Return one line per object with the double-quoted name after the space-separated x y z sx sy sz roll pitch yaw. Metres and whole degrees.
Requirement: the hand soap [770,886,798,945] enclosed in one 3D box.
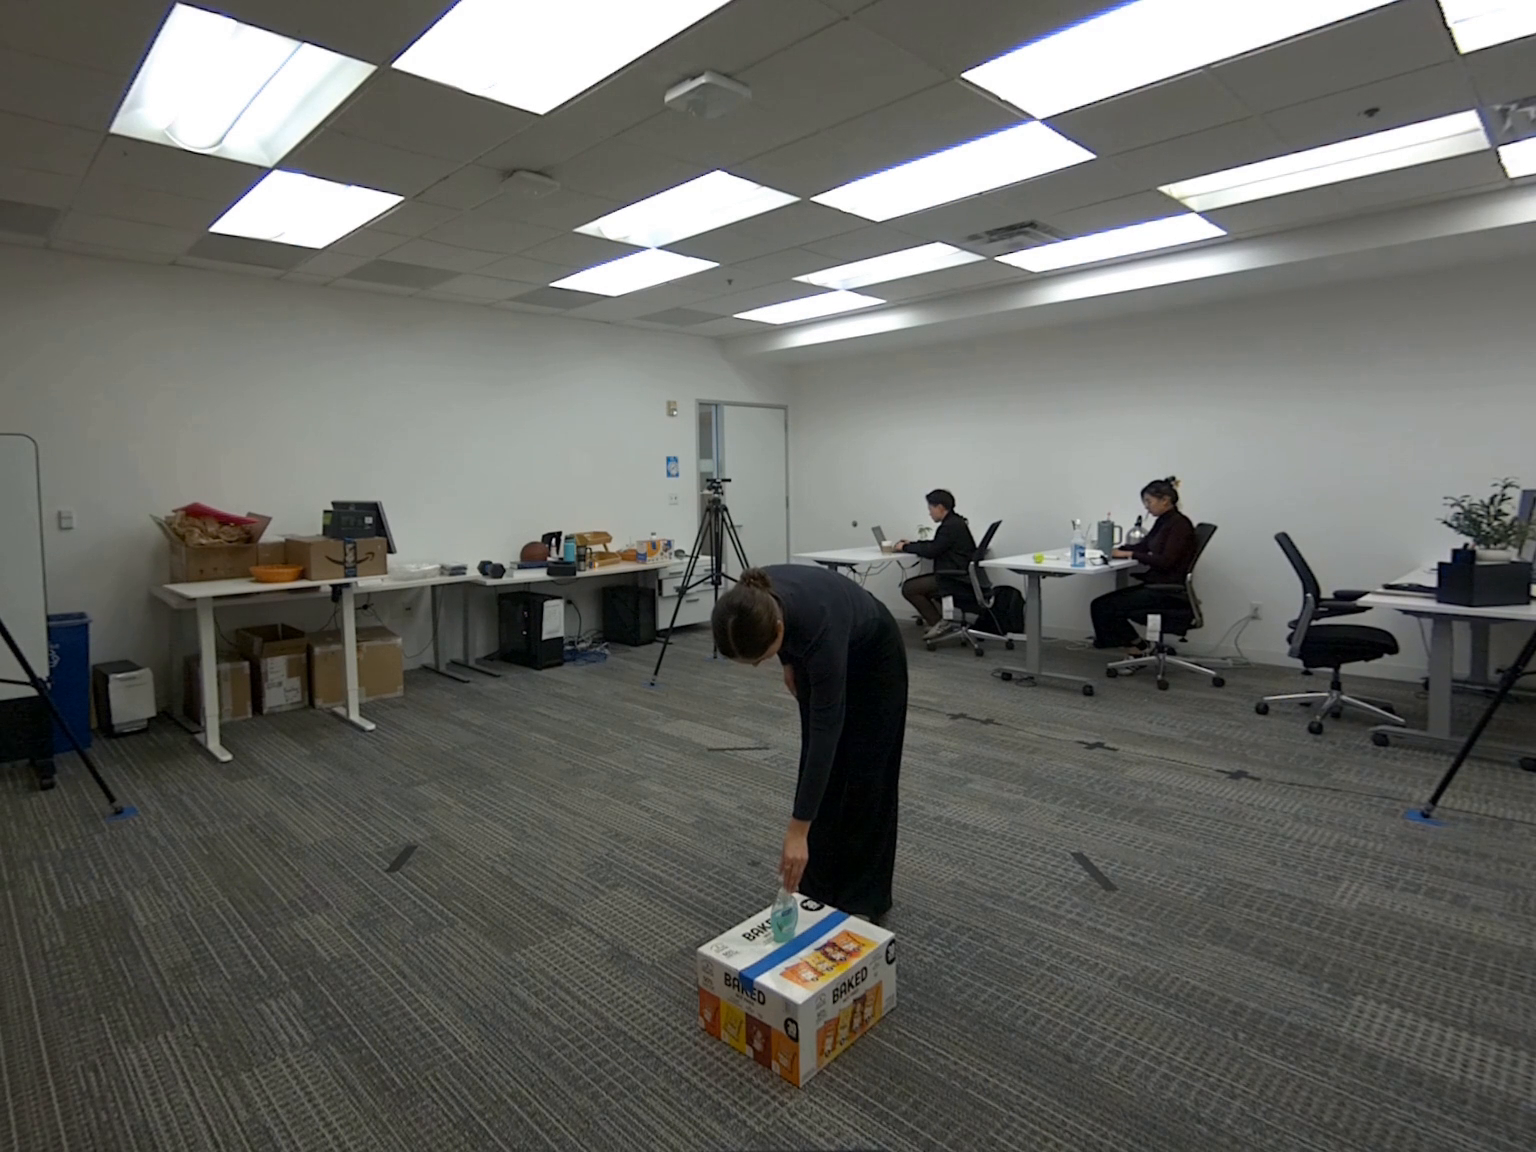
0.044 0.865 2.240 0.082 0.167 0.045 -9 9 -38 "hand soap"
